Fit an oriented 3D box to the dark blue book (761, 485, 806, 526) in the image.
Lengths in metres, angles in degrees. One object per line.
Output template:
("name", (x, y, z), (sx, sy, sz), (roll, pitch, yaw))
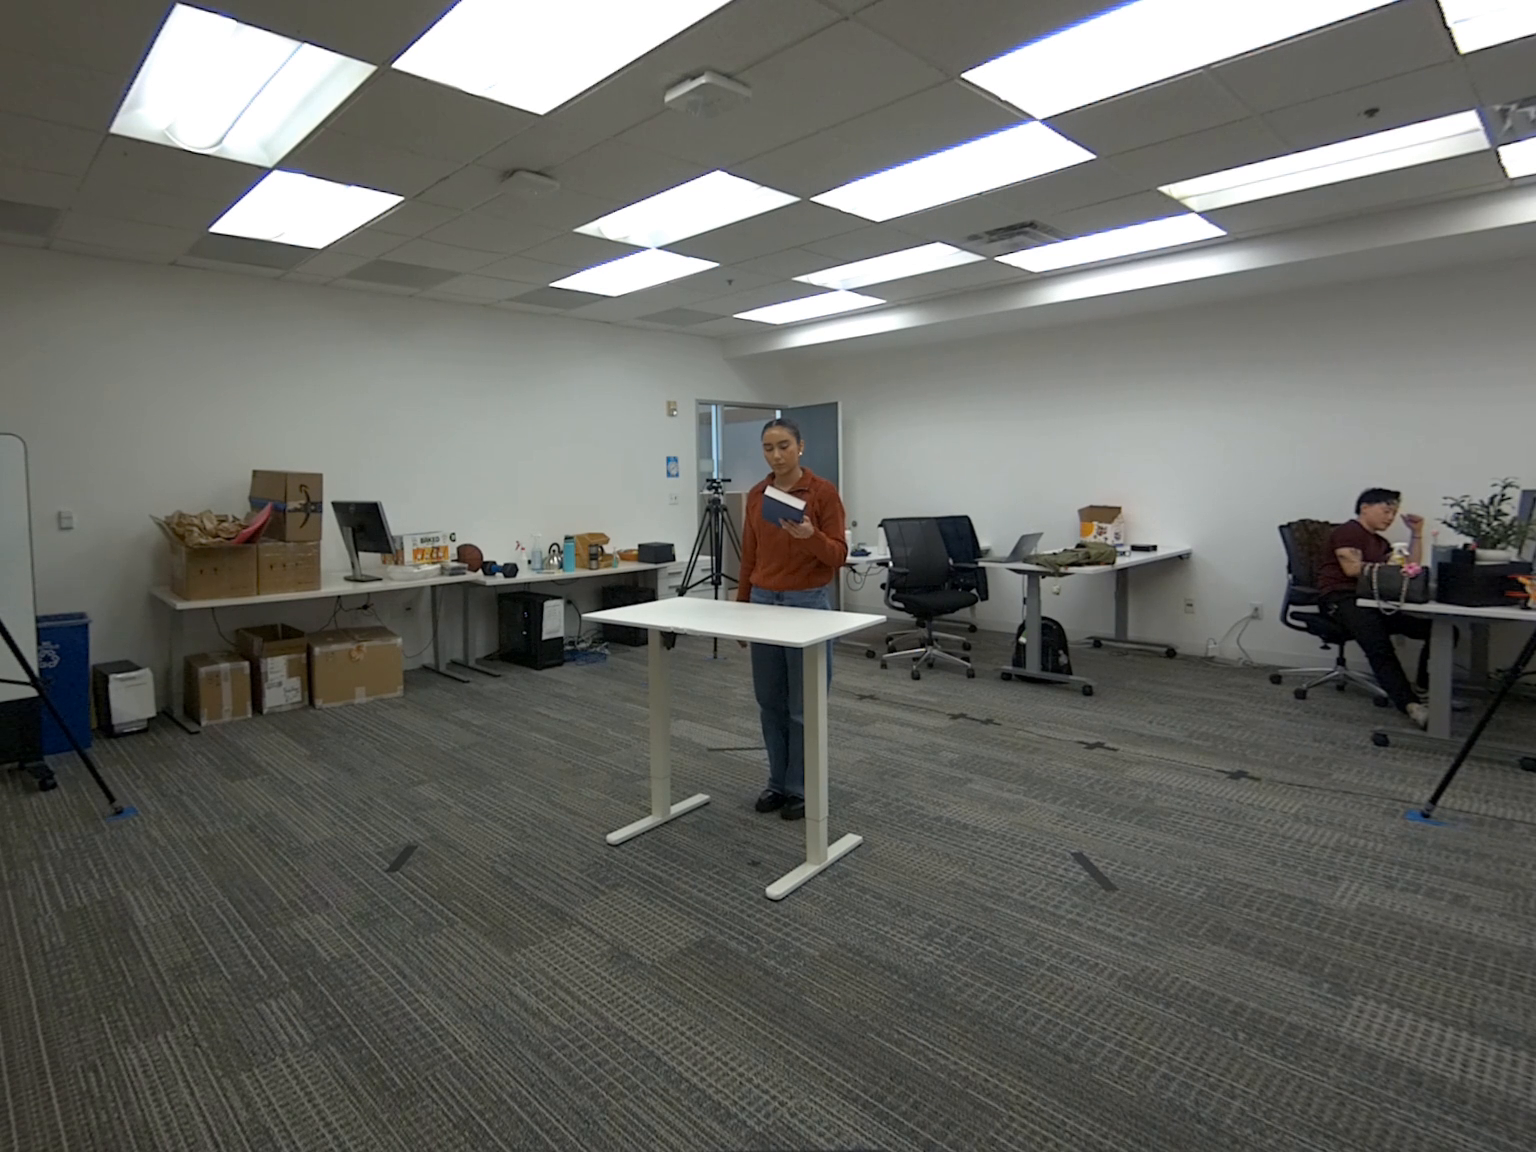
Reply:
("dark blue book", (0.062, -0.252, 3.253), (0.165, 0.045, 0.241), (25, -15, 9))
